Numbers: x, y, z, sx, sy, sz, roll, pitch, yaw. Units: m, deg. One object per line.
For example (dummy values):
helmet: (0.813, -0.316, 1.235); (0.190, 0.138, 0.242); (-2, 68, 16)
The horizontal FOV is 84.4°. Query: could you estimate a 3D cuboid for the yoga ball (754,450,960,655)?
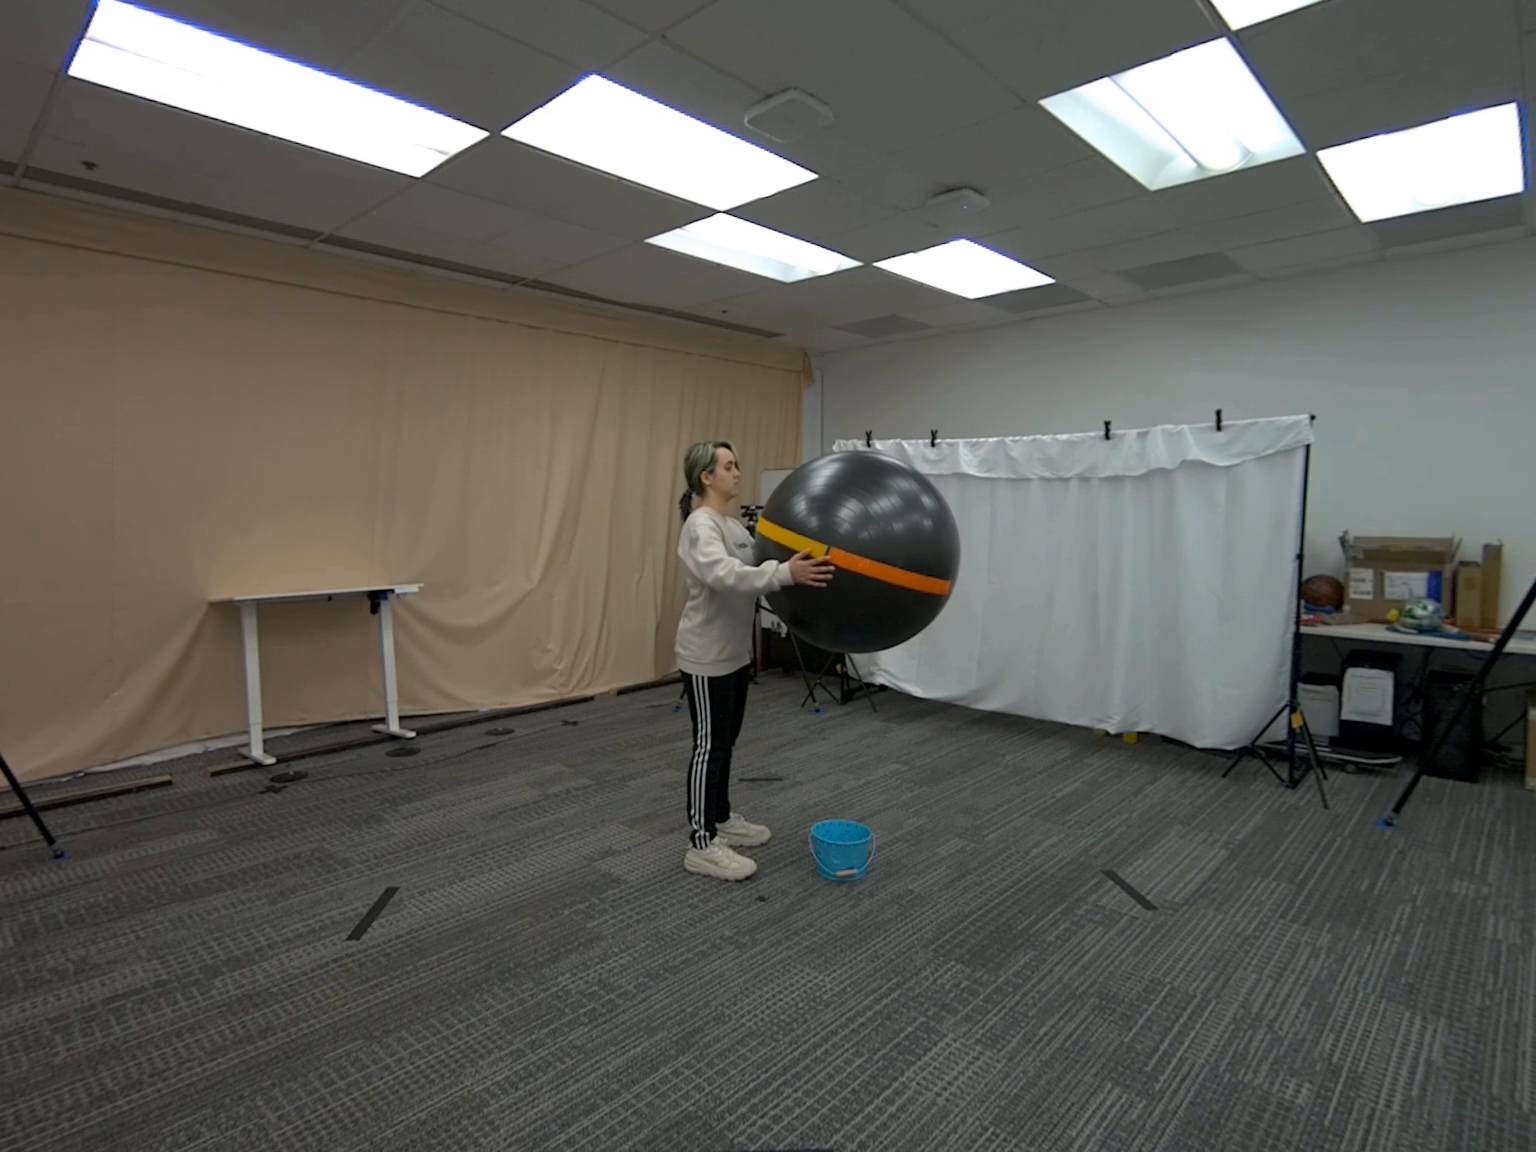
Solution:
yoga ball: (0.334, -0.084, 3.167); (0.757, 0.756, 0.761); (0, 4, -2)
